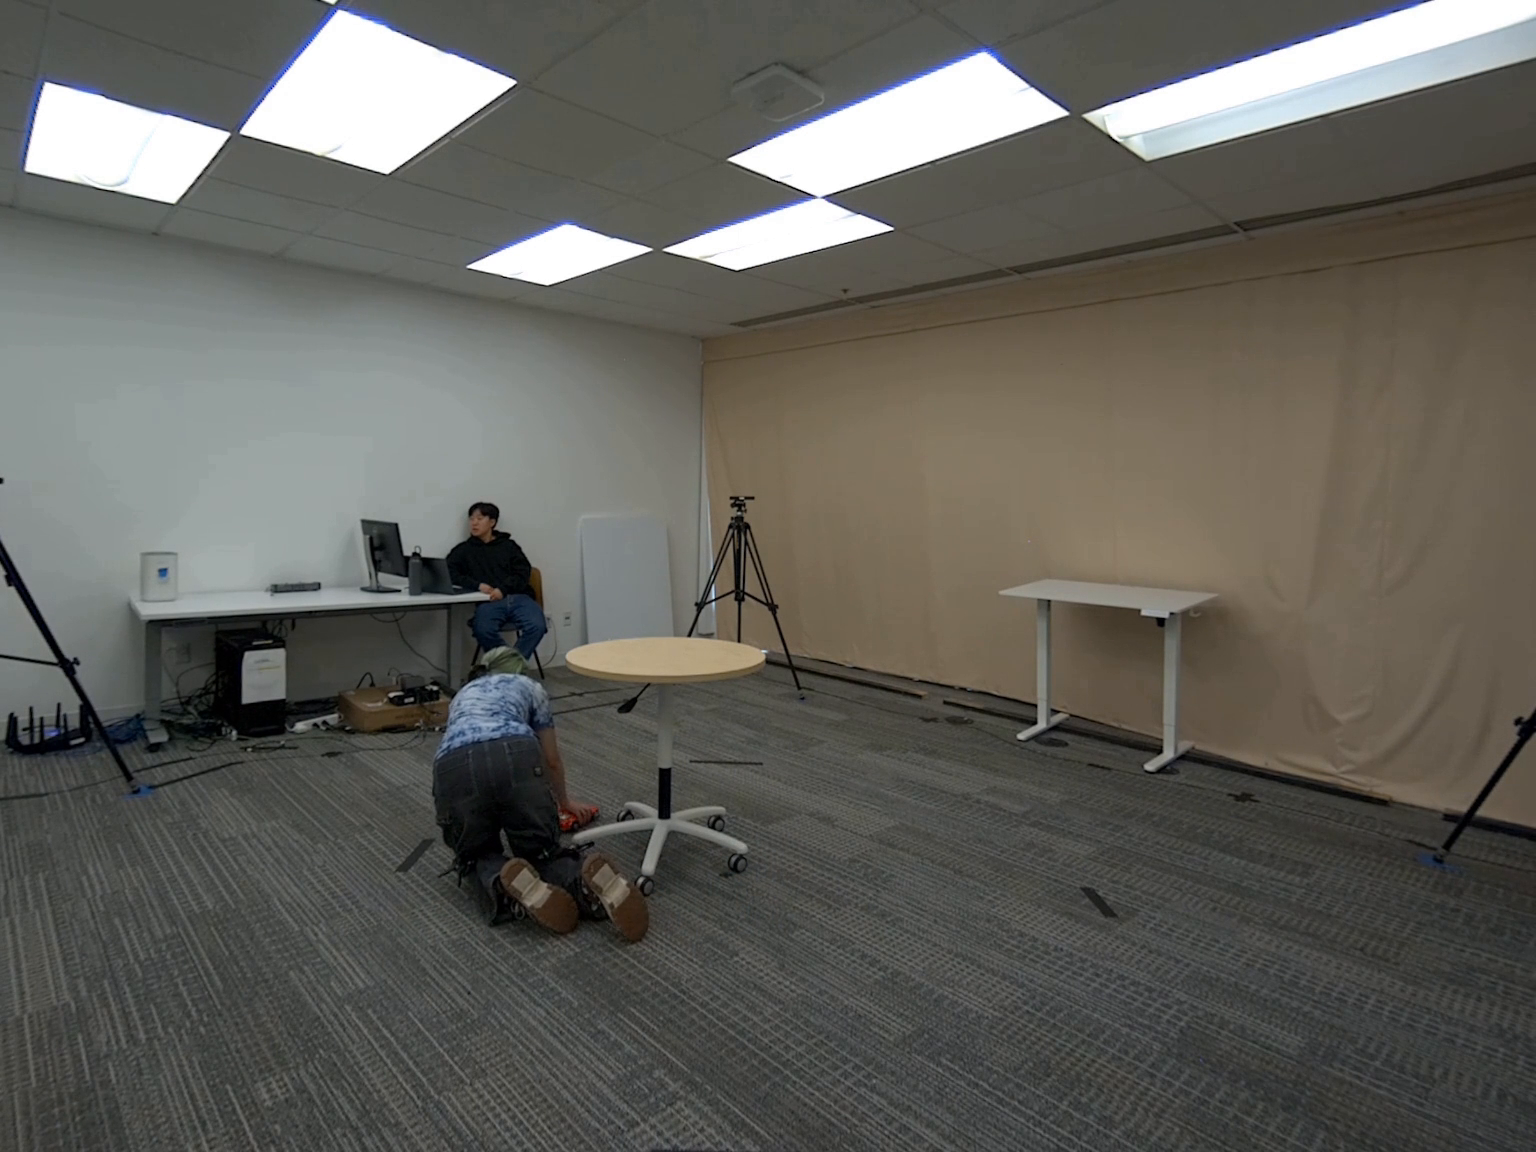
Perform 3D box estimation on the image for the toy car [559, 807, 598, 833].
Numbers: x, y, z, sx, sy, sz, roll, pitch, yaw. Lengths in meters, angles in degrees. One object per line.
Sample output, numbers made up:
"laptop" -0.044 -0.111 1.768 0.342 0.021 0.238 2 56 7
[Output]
"toy car" -0.834 1.024 3.545 0.133 0.083 0.249 5 -5 24
